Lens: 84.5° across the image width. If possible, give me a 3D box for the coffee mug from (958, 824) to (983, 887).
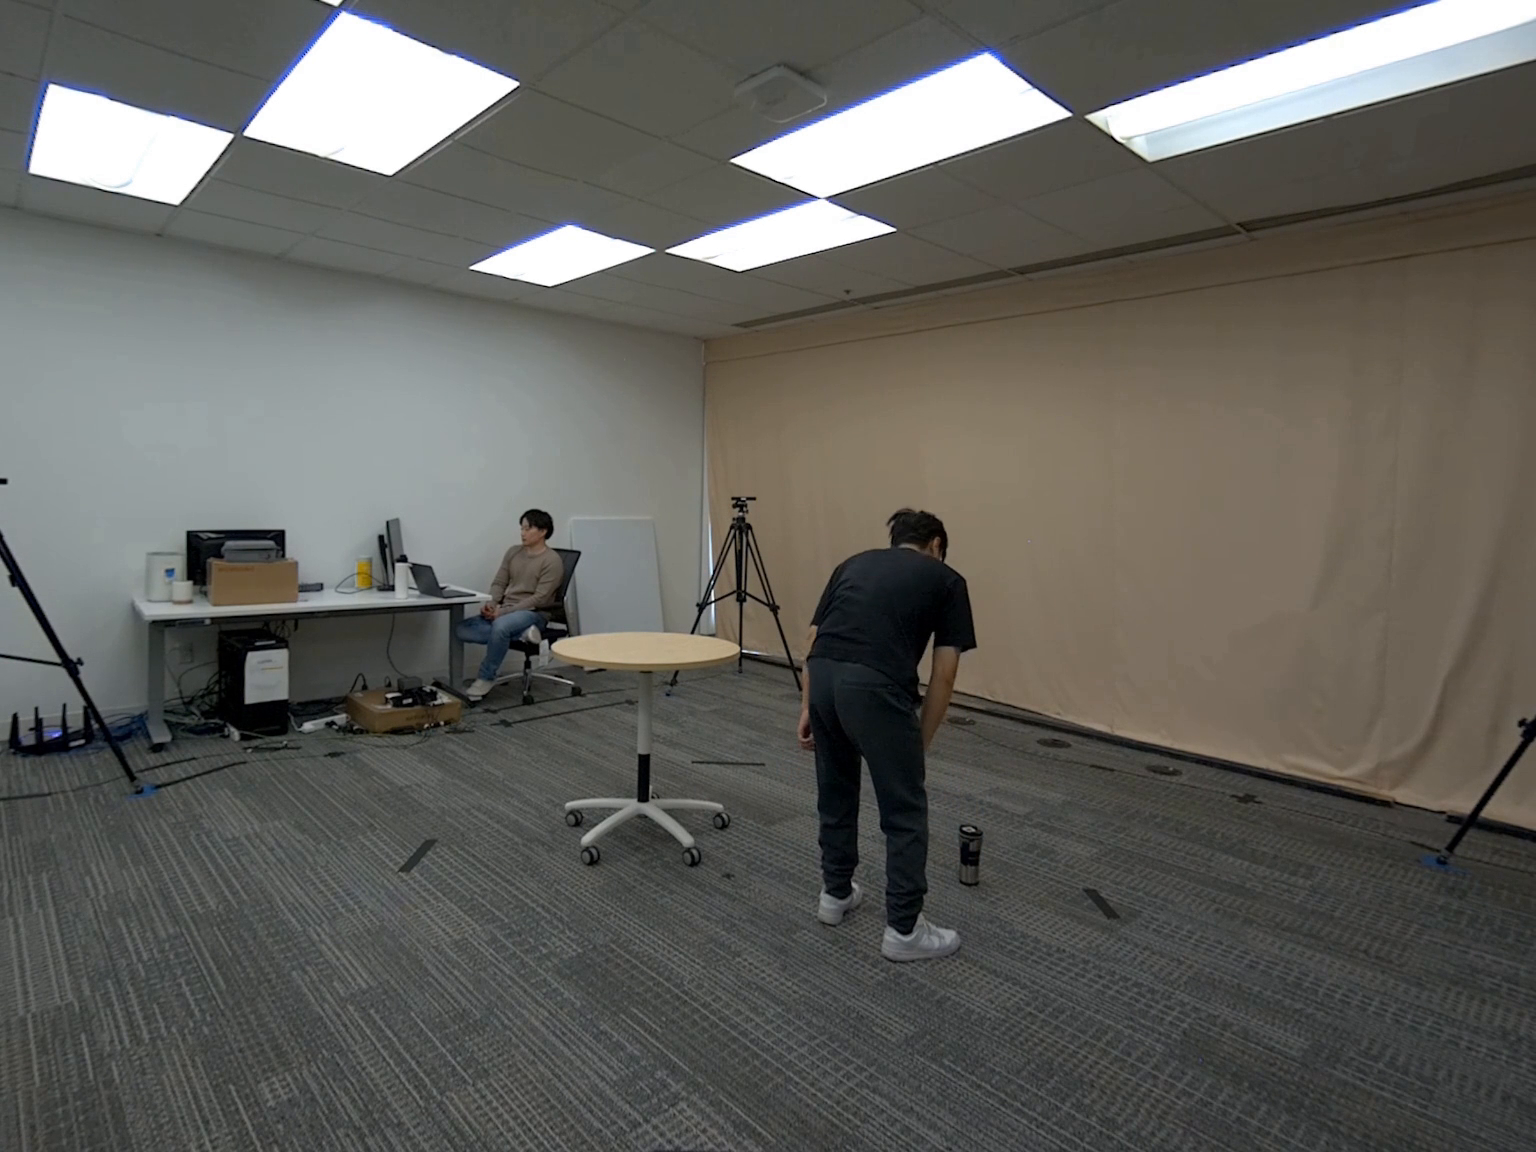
[{"bbox_3d":[0.717,1.030,3.090,0.119,0.202,0.090,3,5,-40],"label":"coffee mug"}]
